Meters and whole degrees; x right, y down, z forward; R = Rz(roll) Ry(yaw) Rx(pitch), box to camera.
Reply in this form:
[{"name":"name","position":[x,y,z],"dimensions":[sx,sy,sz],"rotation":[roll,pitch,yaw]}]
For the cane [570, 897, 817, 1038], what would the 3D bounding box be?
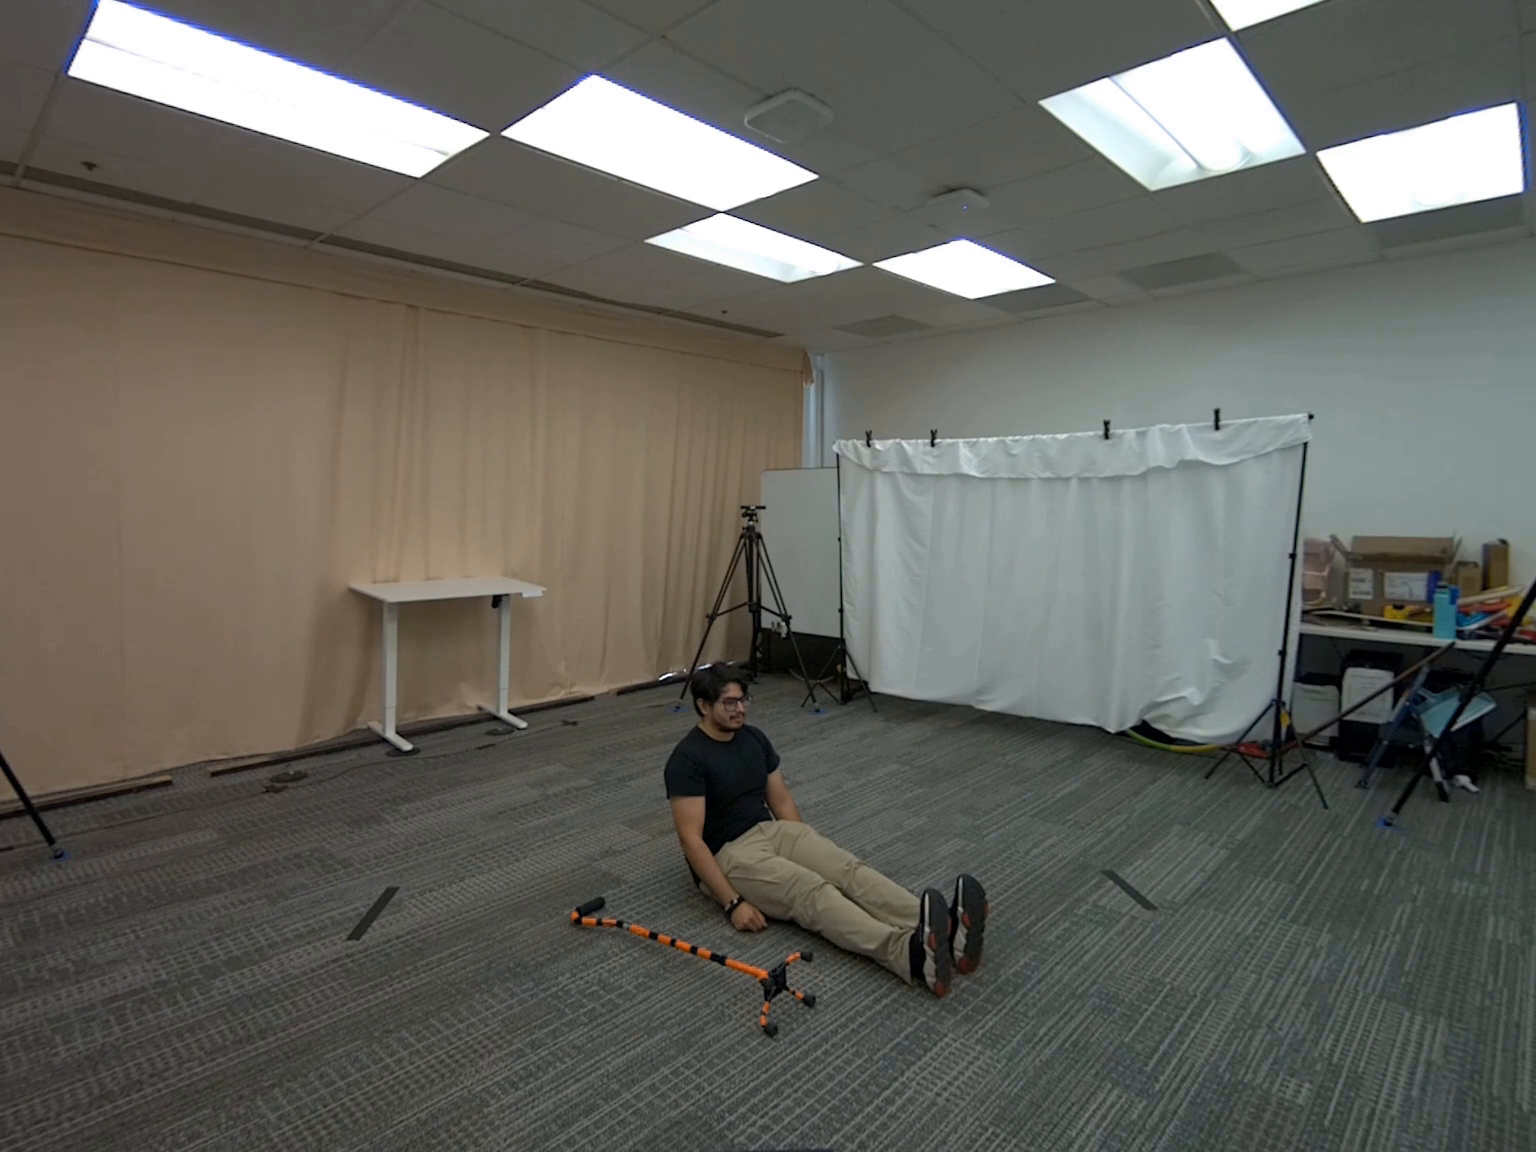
[{"name":"cane","position":[-0.281,1.126,2.577],"dimensions":[0.936,0.151,0.200],"rotation":[-2,3,40]}]
